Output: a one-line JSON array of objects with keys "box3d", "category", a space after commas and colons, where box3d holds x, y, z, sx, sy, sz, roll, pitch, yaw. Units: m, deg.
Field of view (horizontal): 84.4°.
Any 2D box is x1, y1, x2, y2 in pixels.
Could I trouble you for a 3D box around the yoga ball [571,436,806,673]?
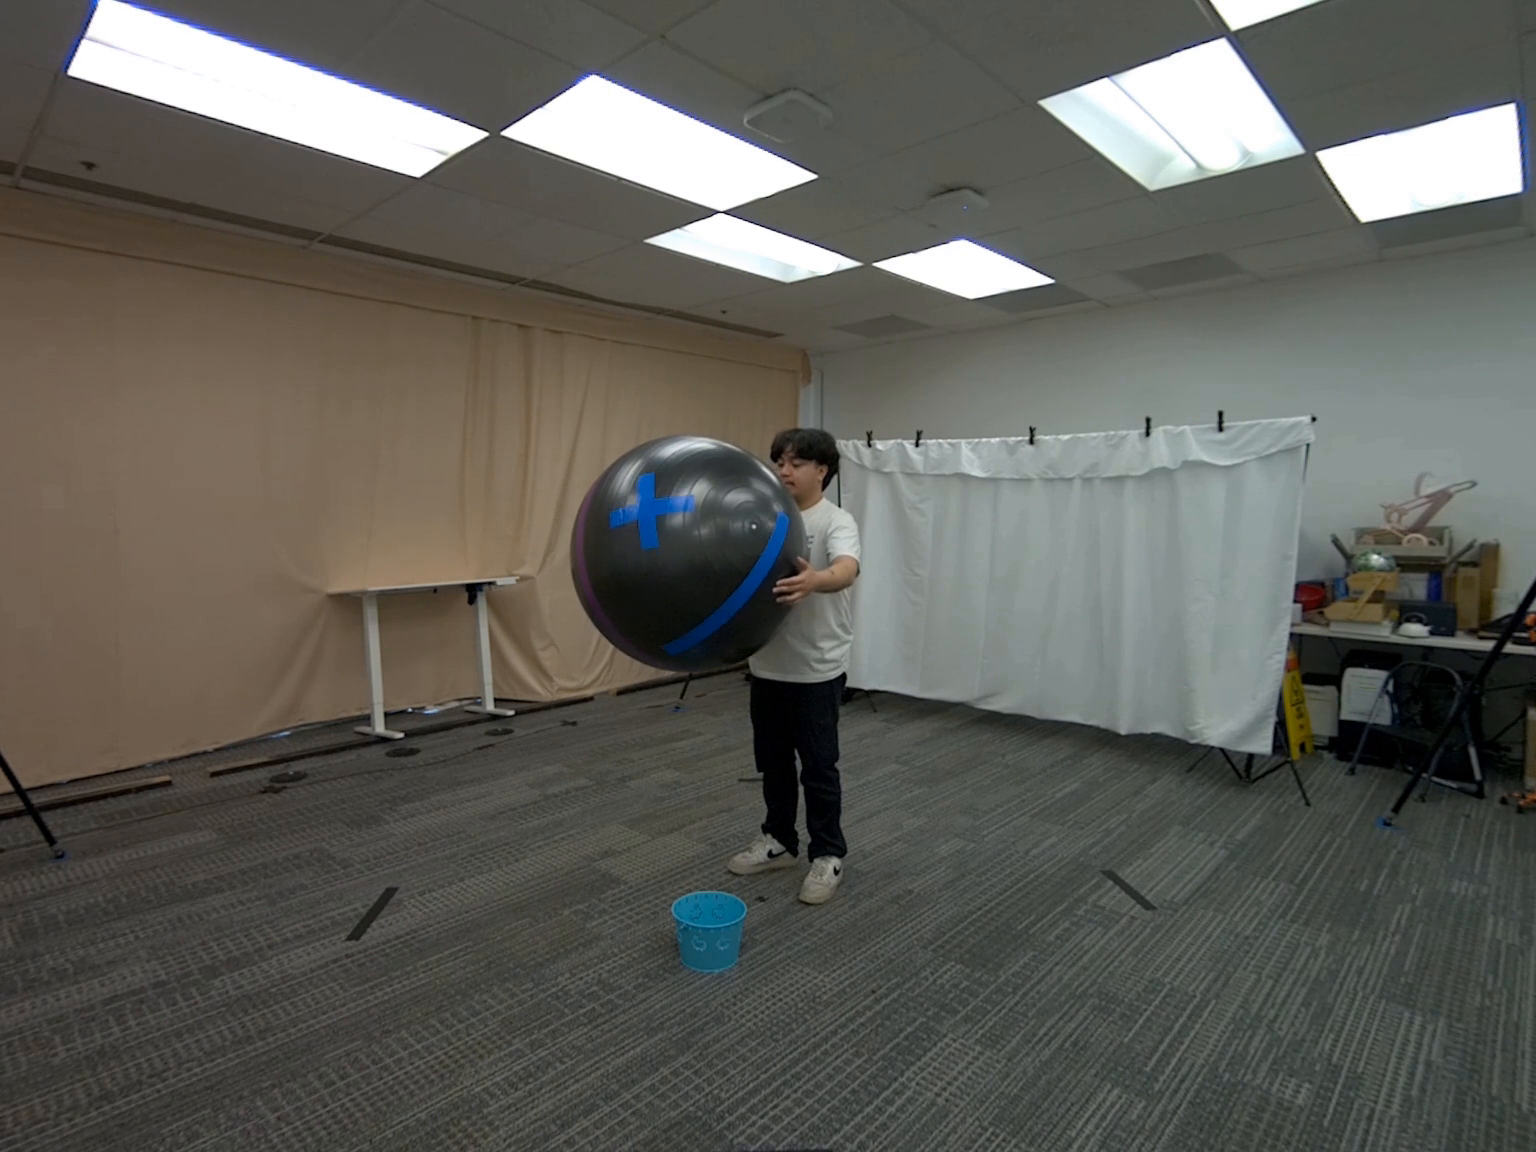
[{"box3d": [-0.256, -0.064, 2.704, 0.757, 0.756, 0.760, 0, 4, -2], "category": "yoga ball"}]
